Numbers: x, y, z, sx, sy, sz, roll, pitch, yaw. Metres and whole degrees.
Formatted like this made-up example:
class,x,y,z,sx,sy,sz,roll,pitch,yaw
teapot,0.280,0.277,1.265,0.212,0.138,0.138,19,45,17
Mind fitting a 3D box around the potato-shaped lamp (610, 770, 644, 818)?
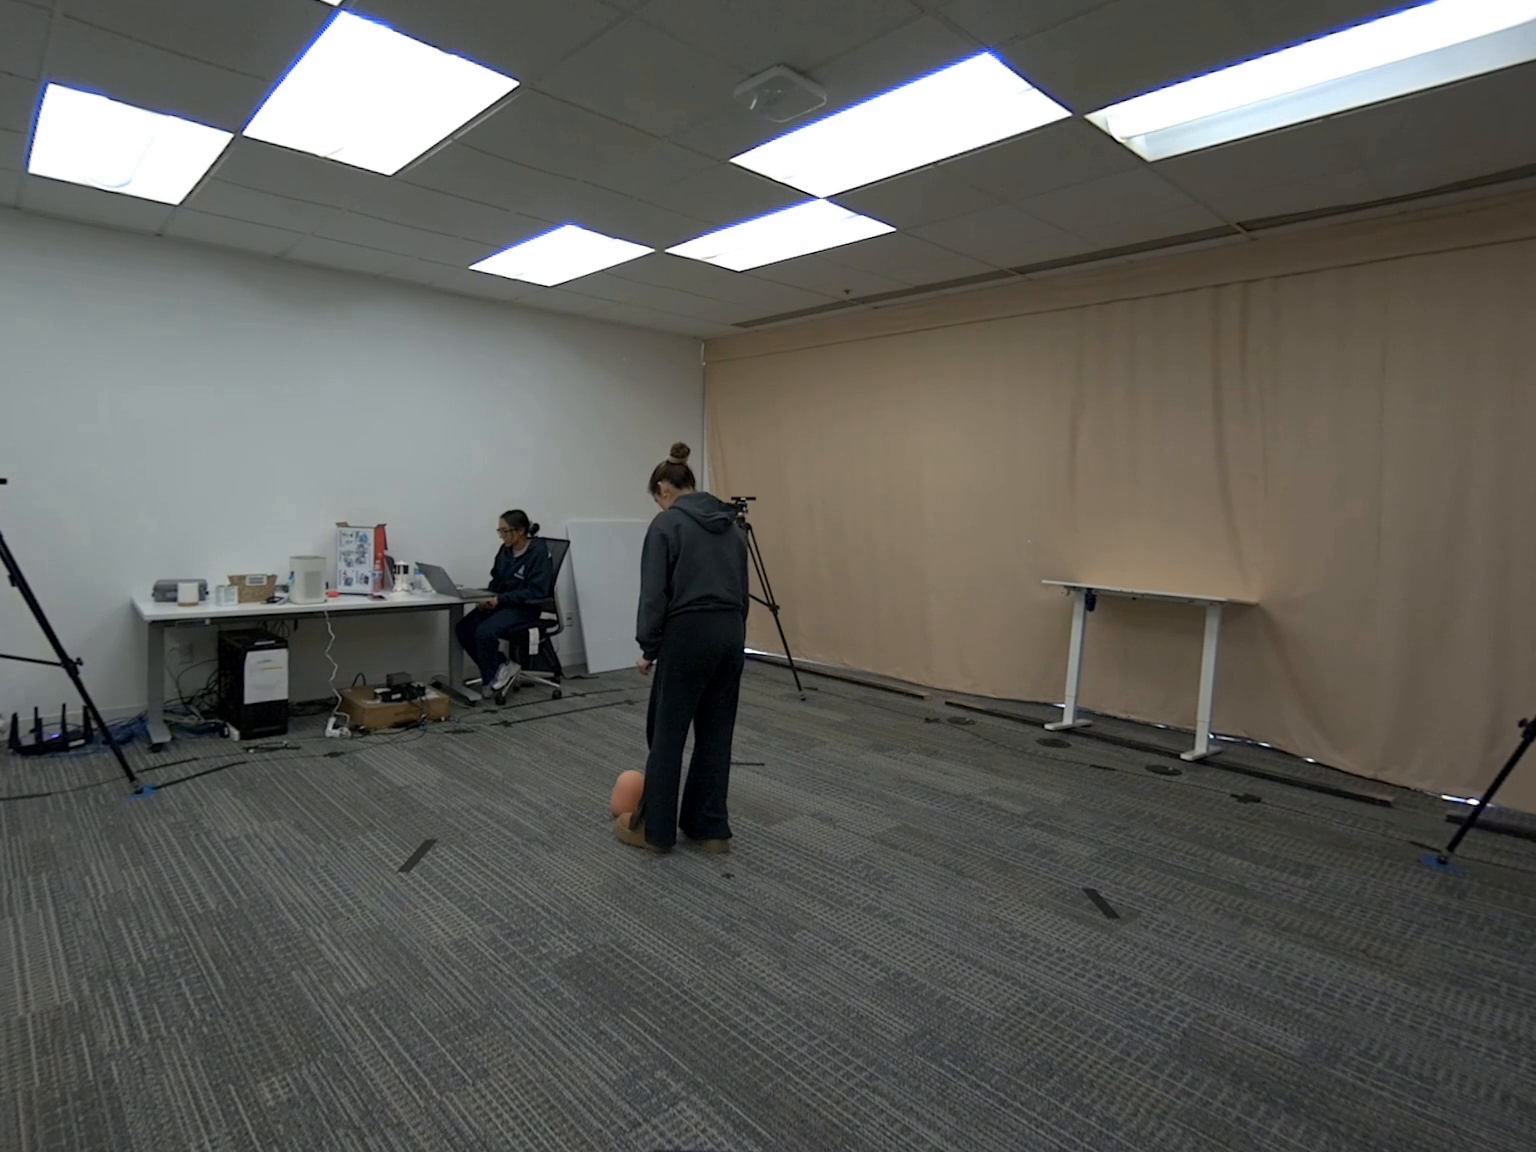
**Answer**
class,x,y,z,sx,sy,sz,roll,pitch,yaw
potato-shaped lamp,-0.616,0.947,3.677,0.161,0.197,0.176,-3,8,-35
